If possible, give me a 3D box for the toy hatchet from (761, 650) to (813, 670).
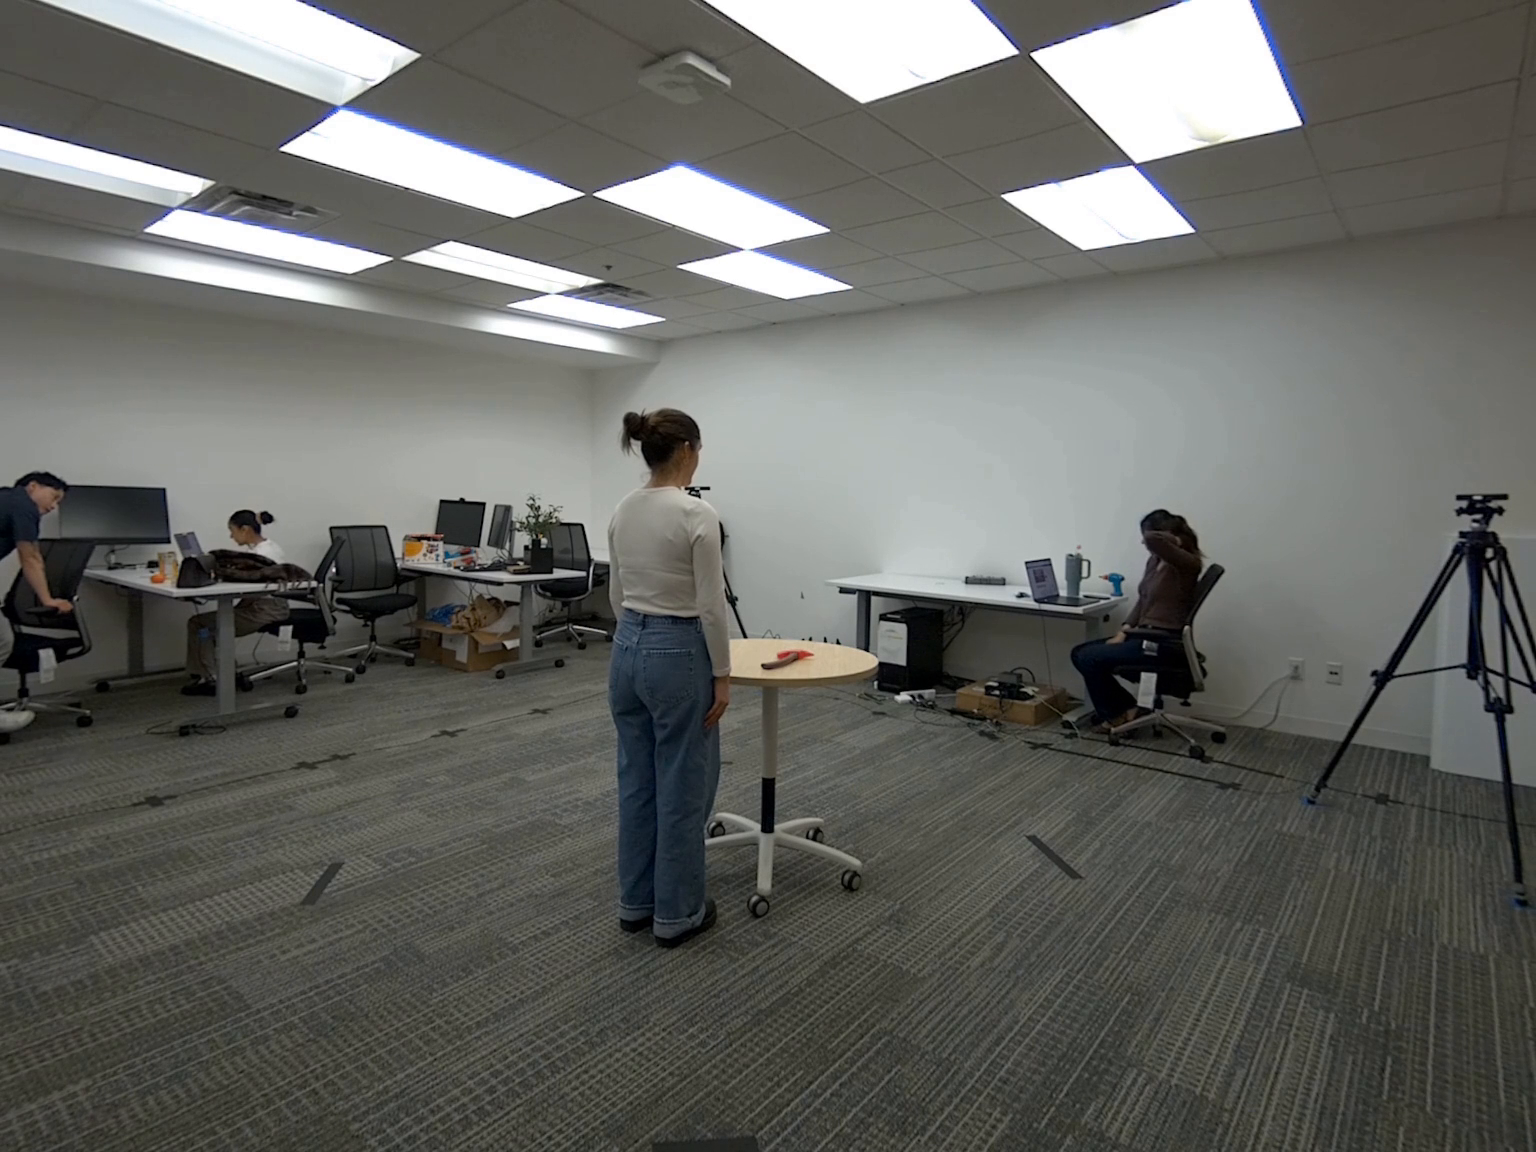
[{"bbox_3d":[0.032,0.287,2.963,0.135,0.029,0.262,2,6,38],"label":"toy hatchet"}]
